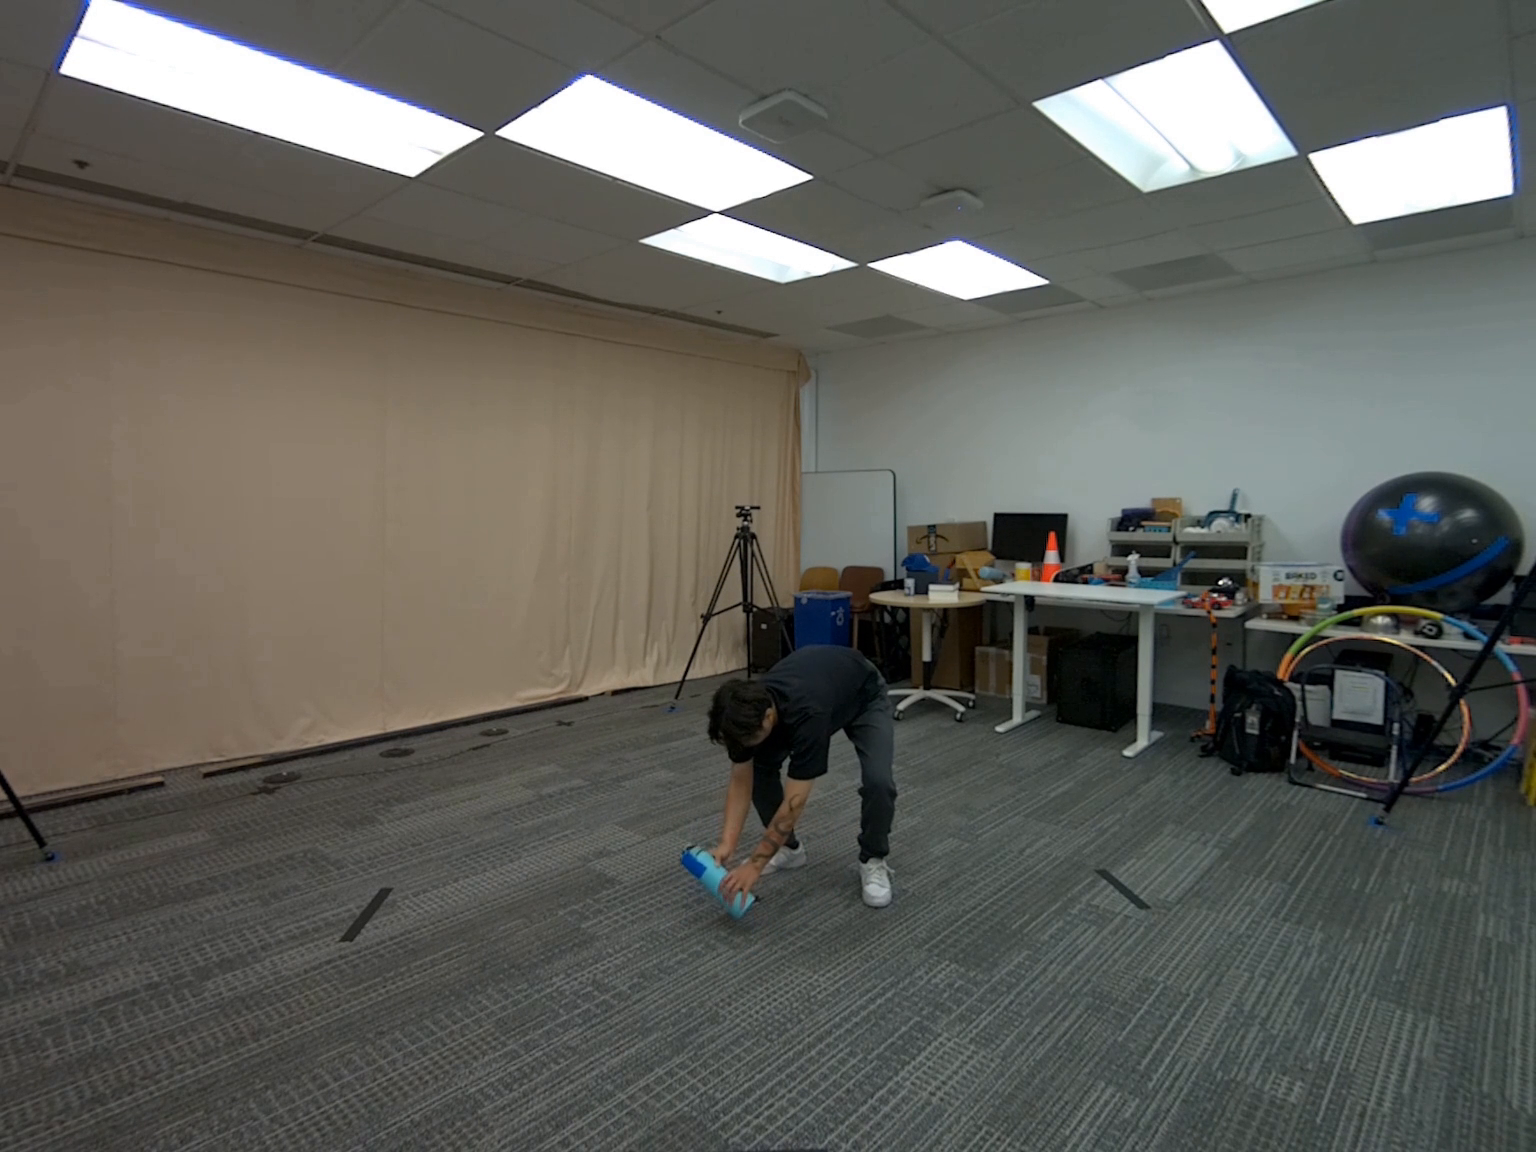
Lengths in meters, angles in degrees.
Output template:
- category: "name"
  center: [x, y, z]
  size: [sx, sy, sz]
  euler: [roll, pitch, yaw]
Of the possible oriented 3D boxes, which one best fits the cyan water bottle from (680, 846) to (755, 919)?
- category: "cyan water bottle"
  center: [-0.177, 1.008, 2.783]
  size: [0.290, 0.092, 0.090]
  euler: [37, 17, 19]
